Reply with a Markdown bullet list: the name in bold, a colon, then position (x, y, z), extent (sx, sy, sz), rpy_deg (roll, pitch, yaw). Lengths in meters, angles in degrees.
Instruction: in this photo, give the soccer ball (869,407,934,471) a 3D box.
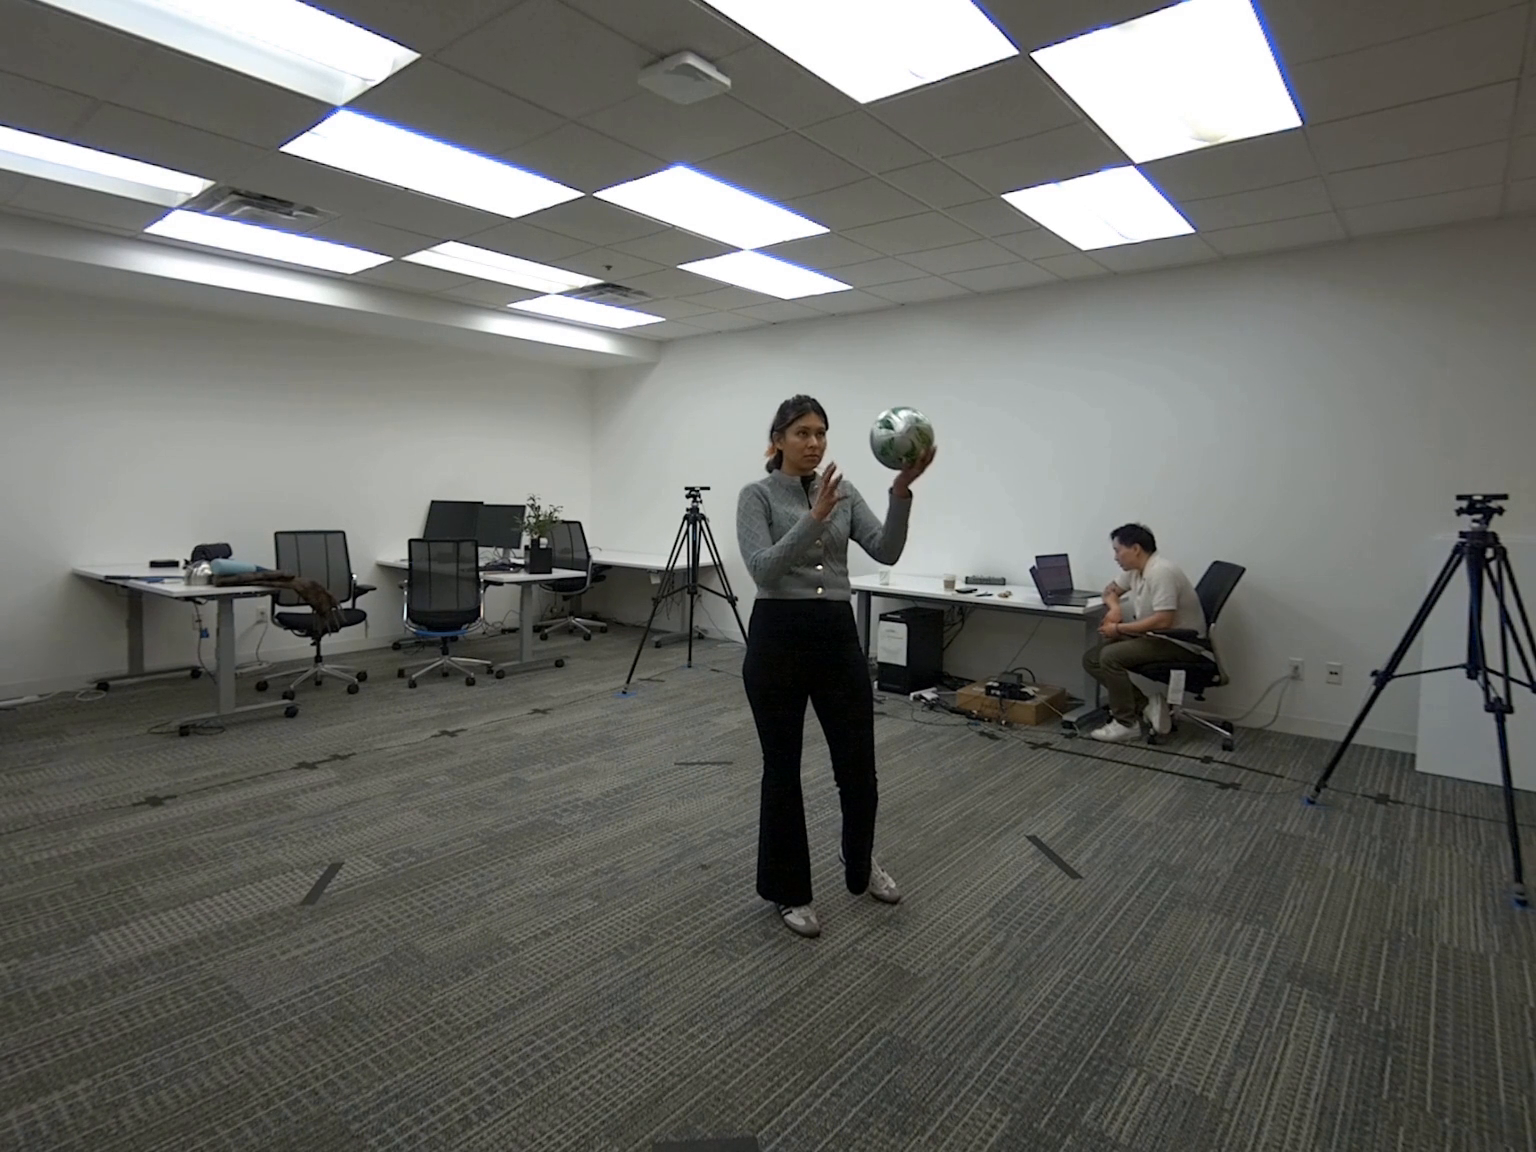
- **soccer ball**: position (0.374, -0.381, 2.507), extent (0.187, 0.187, 0.188), rpy_deg (0, 4, -2)
